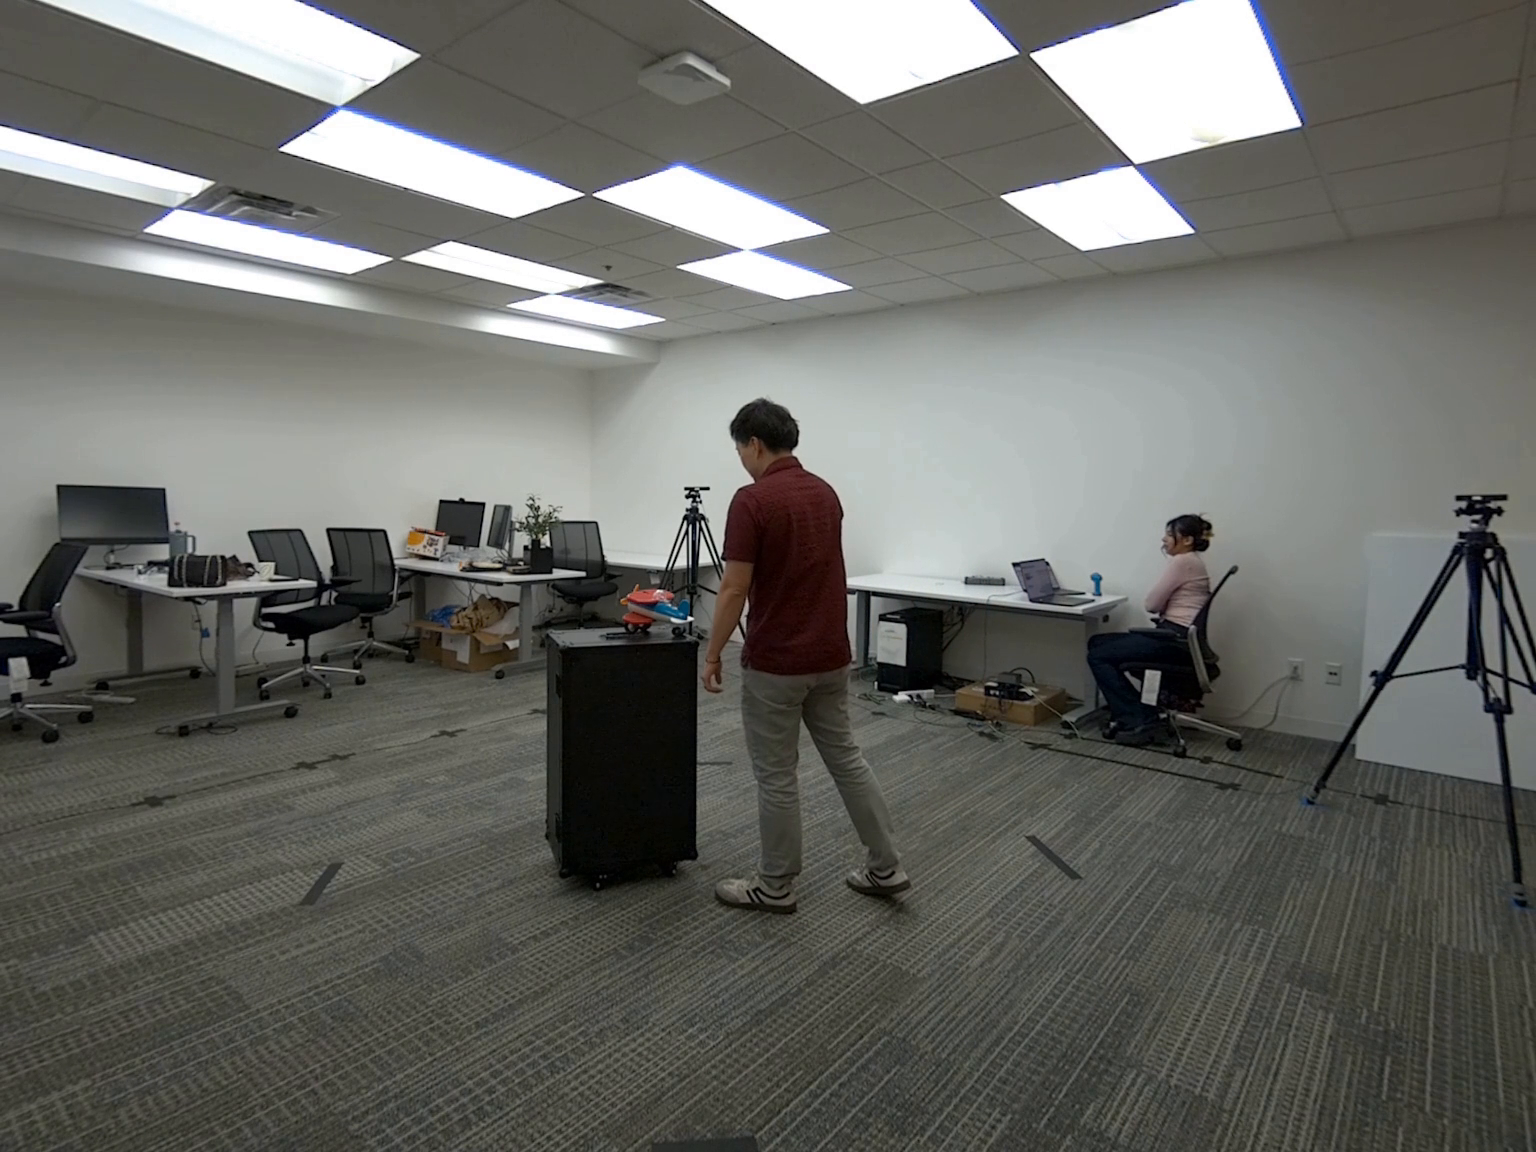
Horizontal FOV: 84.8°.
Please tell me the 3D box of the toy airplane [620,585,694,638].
[{"bbox_3d":[-0.411,0.127,3.152,0.259,0.156,0.253,-1,5,-3],"label":"toy airplane"}]
